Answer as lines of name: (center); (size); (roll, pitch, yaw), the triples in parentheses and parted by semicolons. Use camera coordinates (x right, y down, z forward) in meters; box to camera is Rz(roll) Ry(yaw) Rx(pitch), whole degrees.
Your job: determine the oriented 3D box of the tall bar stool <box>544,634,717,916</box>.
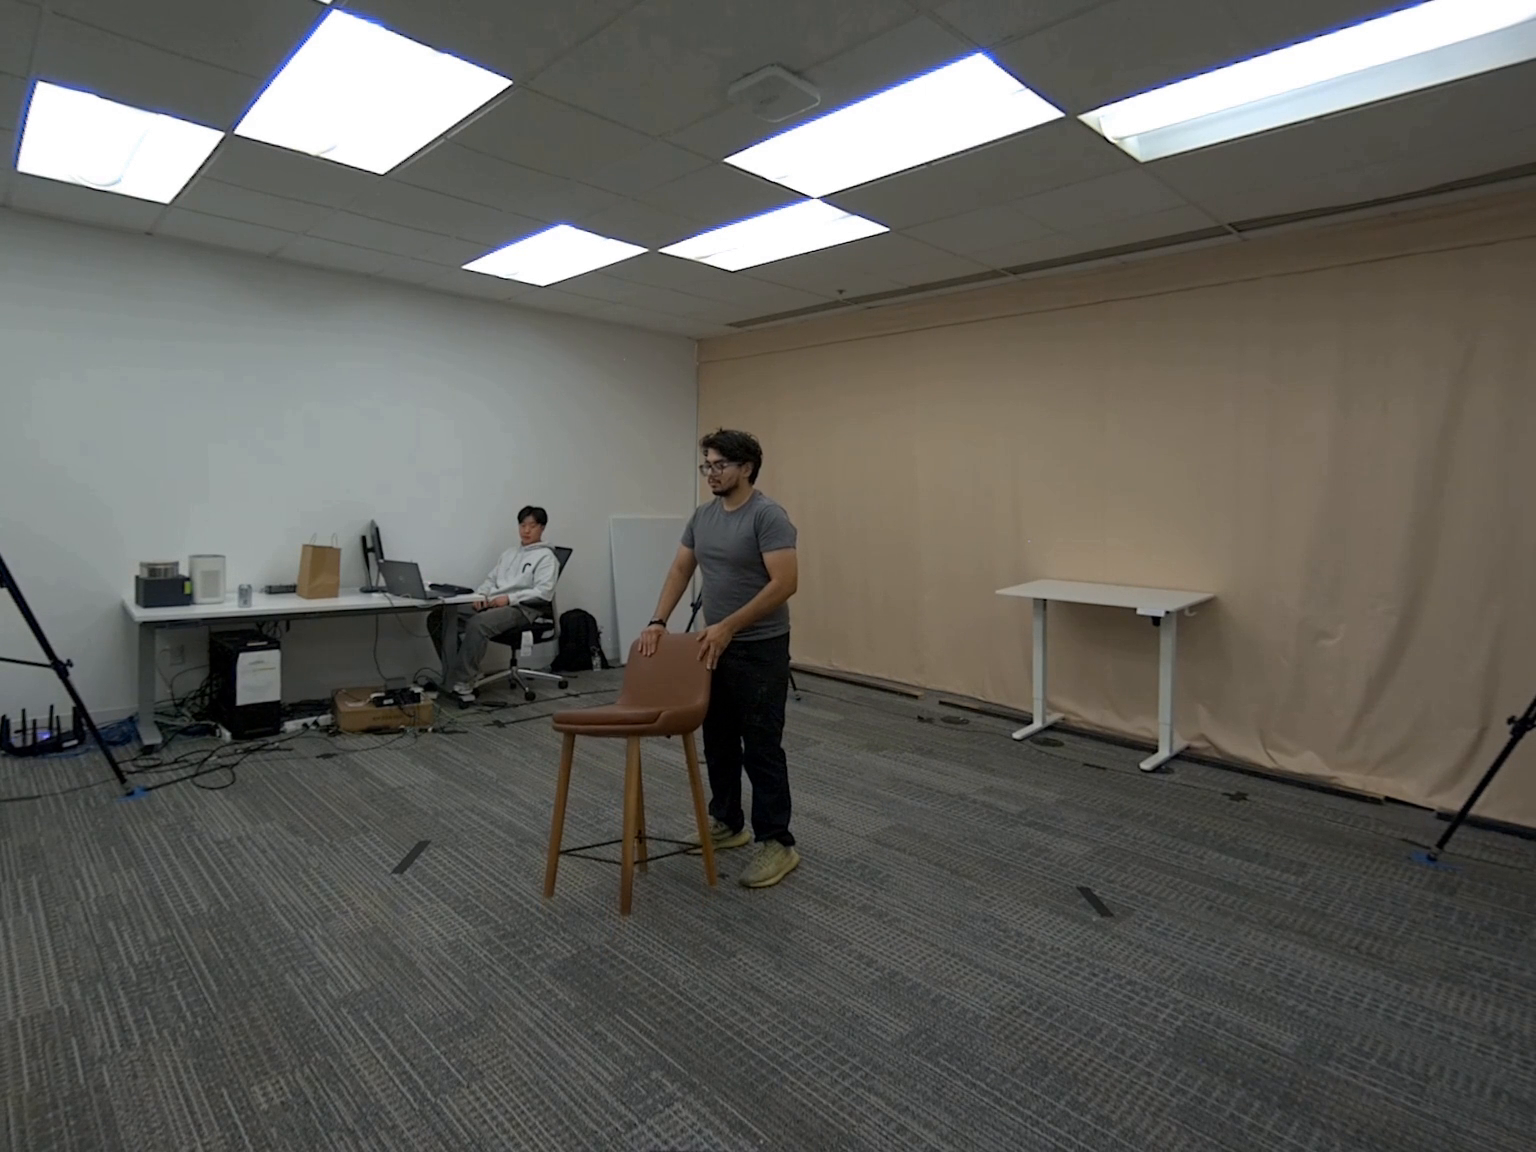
tall bar stool: (-0.465, 0.635, 2.914); (0.465, 0.897, 0.455); (-9, -13, 39)
